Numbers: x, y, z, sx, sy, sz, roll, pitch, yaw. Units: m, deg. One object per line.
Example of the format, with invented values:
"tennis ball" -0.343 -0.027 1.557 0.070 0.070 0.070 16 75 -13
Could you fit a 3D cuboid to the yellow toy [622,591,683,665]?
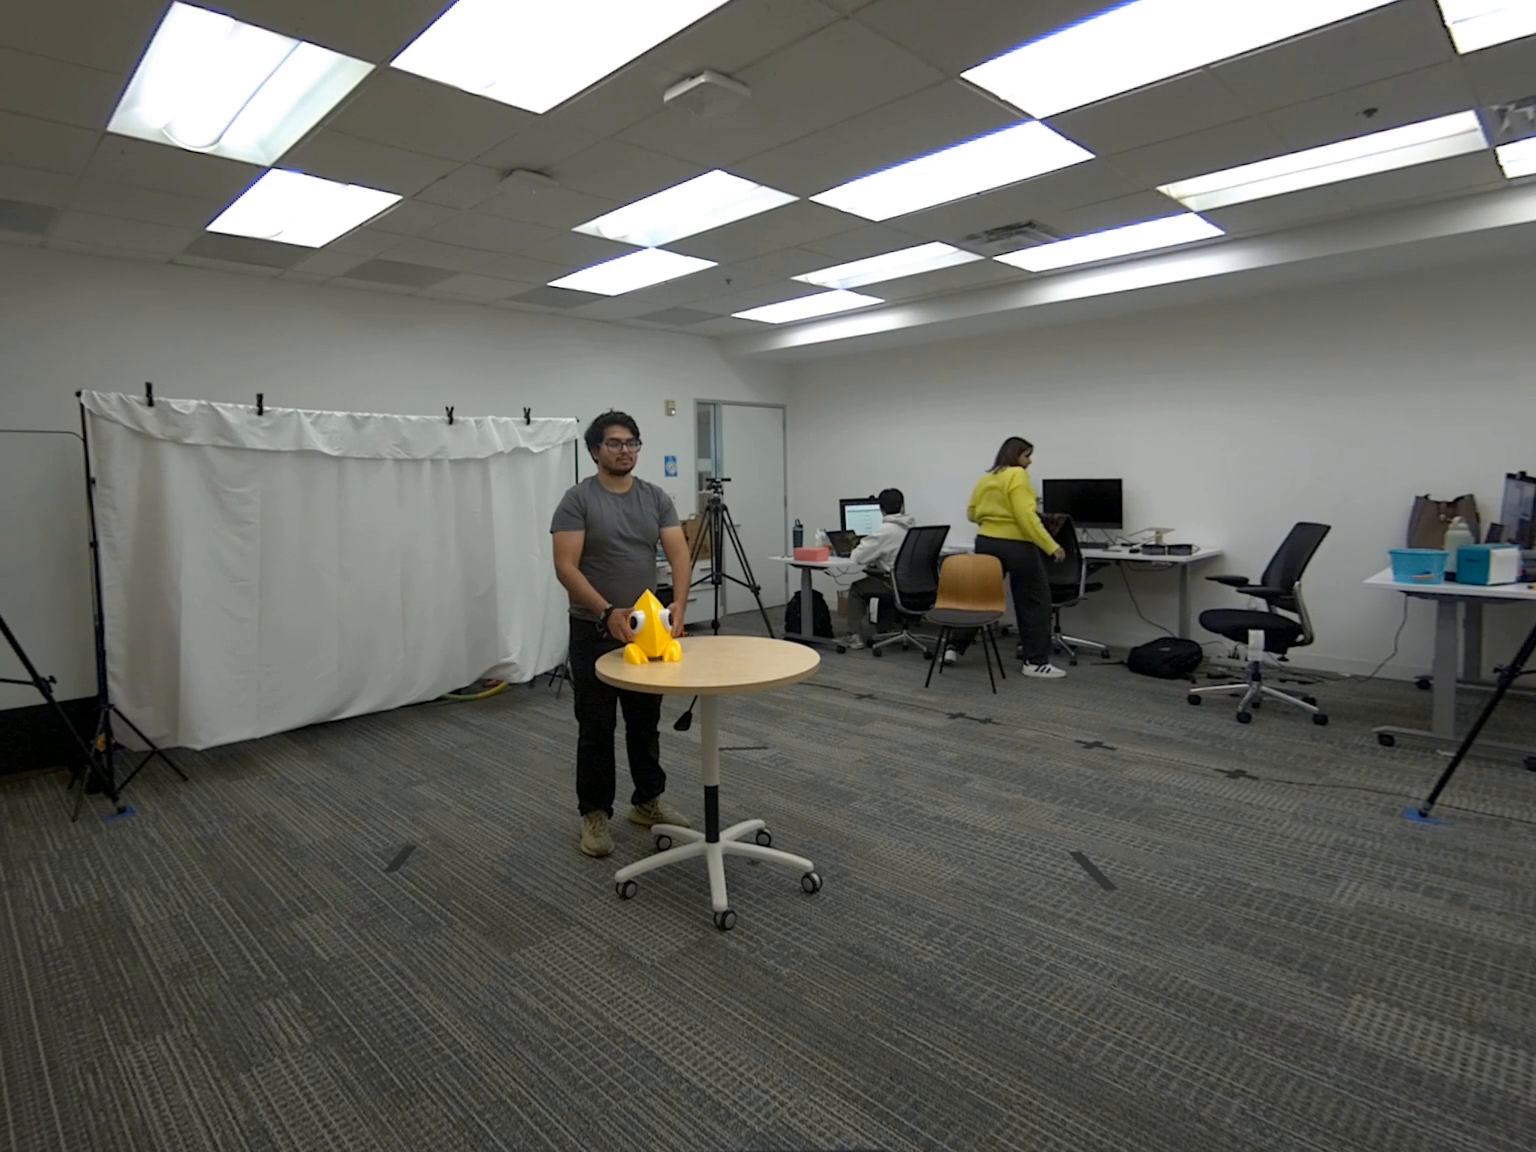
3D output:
"yellow toy" -0.400 0.164 2.959 0.202 0.230 0.195 -3 1 -12
